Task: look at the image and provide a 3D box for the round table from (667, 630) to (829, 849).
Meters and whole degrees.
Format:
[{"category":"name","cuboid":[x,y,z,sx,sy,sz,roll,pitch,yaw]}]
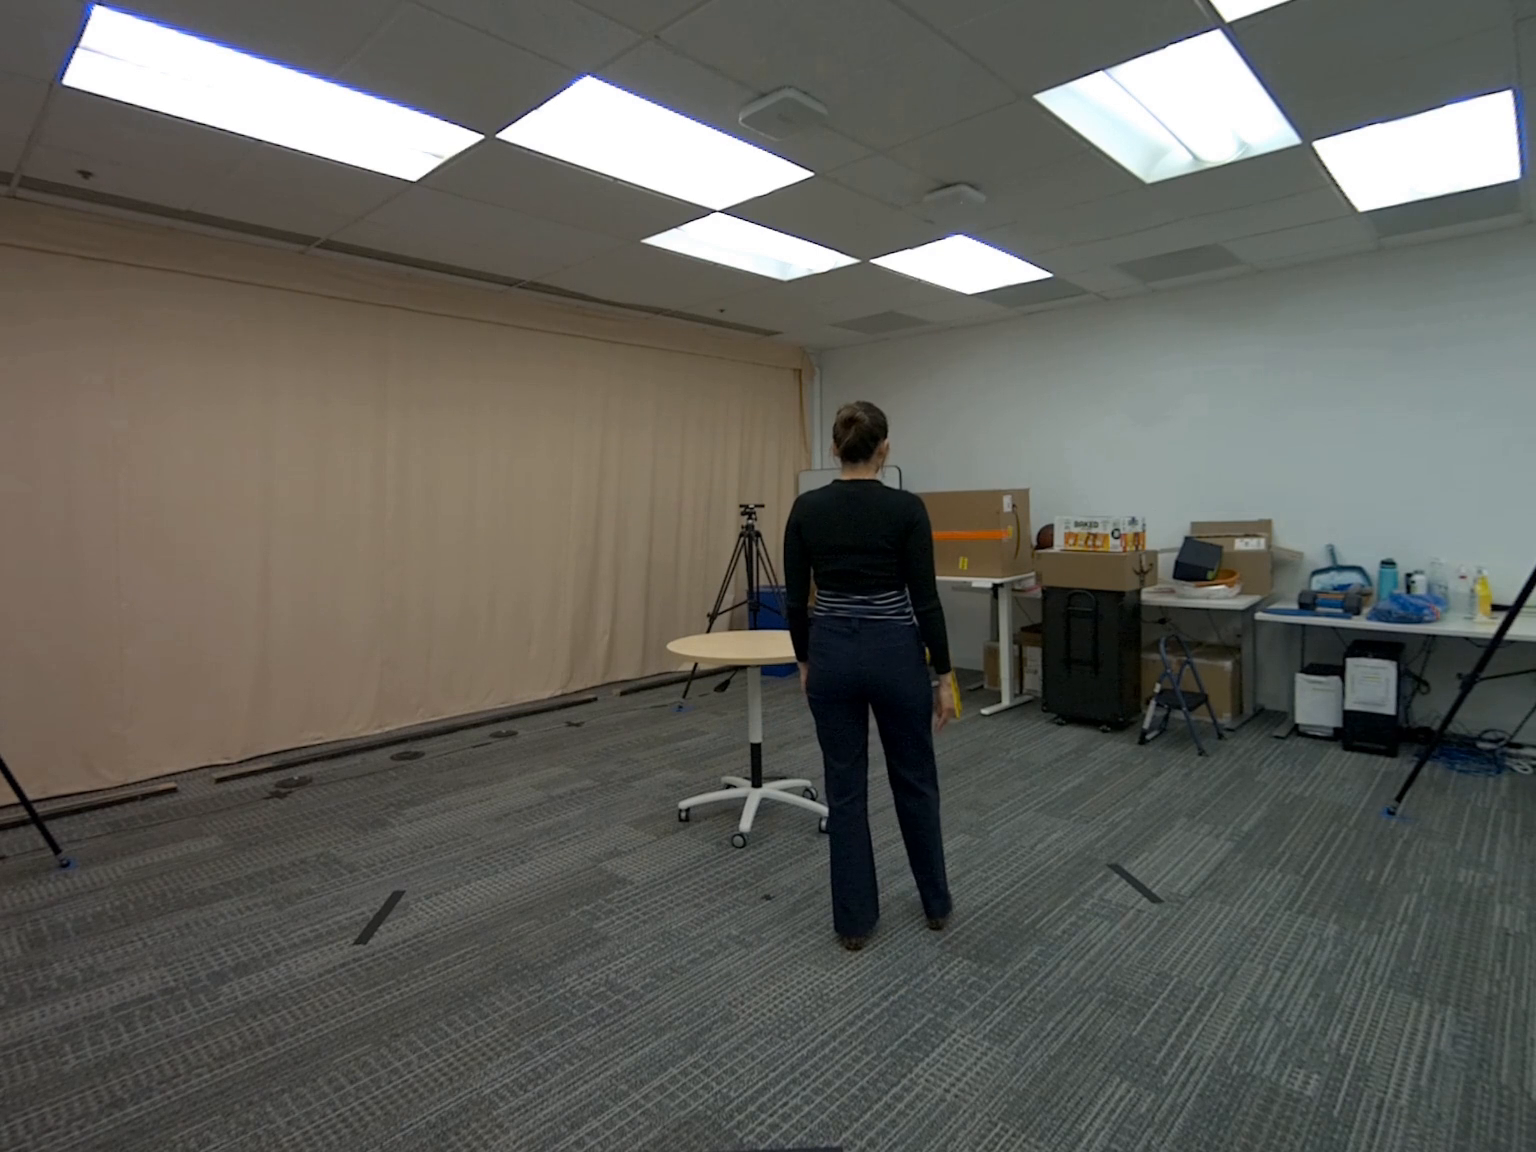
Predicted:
[{"category":"round table","cuboid":[-0.048,0.688,3.725,0.763,0.792,0.766,-1,3,-2]}]
